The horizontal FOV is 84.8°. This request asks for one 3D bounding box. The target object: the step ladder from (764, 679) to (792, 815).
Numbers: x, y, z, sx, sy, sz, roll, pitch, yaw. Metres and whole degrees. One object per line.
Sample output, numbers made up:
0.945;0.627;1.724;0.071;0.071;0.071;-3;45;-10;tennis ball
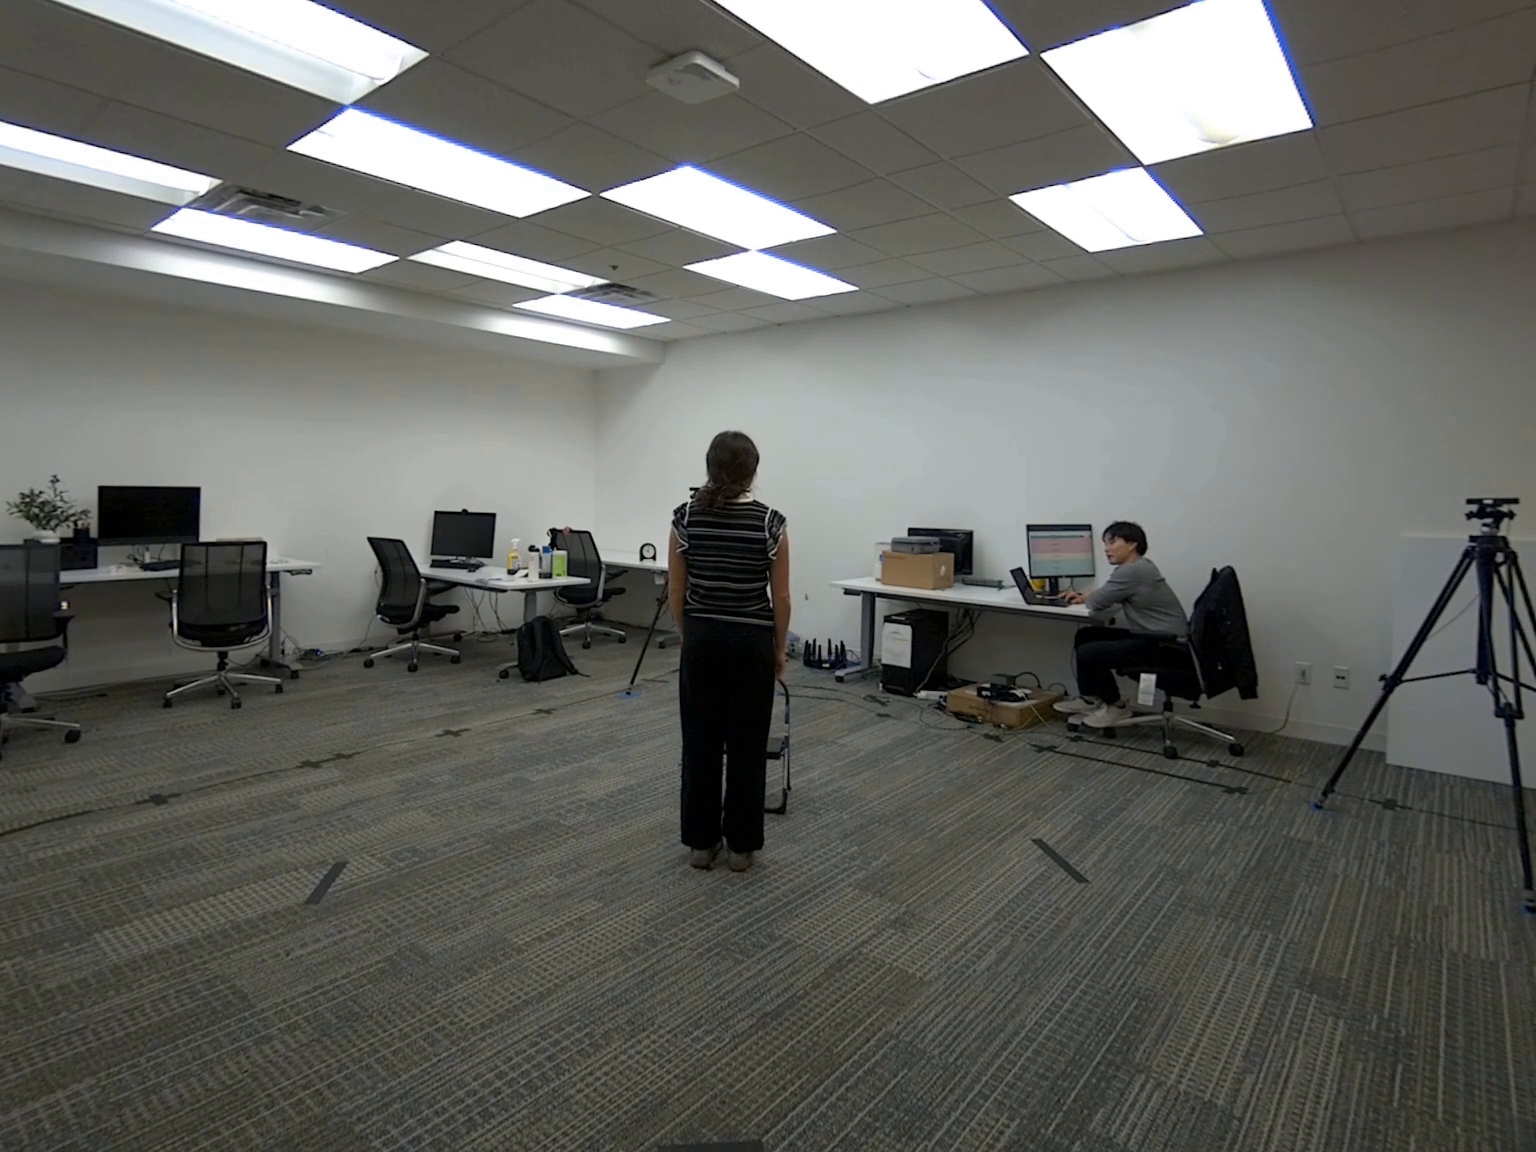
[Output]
-0.115;0.693;3.826;0.434;0.604;0.348;2;4;6;step ladder
